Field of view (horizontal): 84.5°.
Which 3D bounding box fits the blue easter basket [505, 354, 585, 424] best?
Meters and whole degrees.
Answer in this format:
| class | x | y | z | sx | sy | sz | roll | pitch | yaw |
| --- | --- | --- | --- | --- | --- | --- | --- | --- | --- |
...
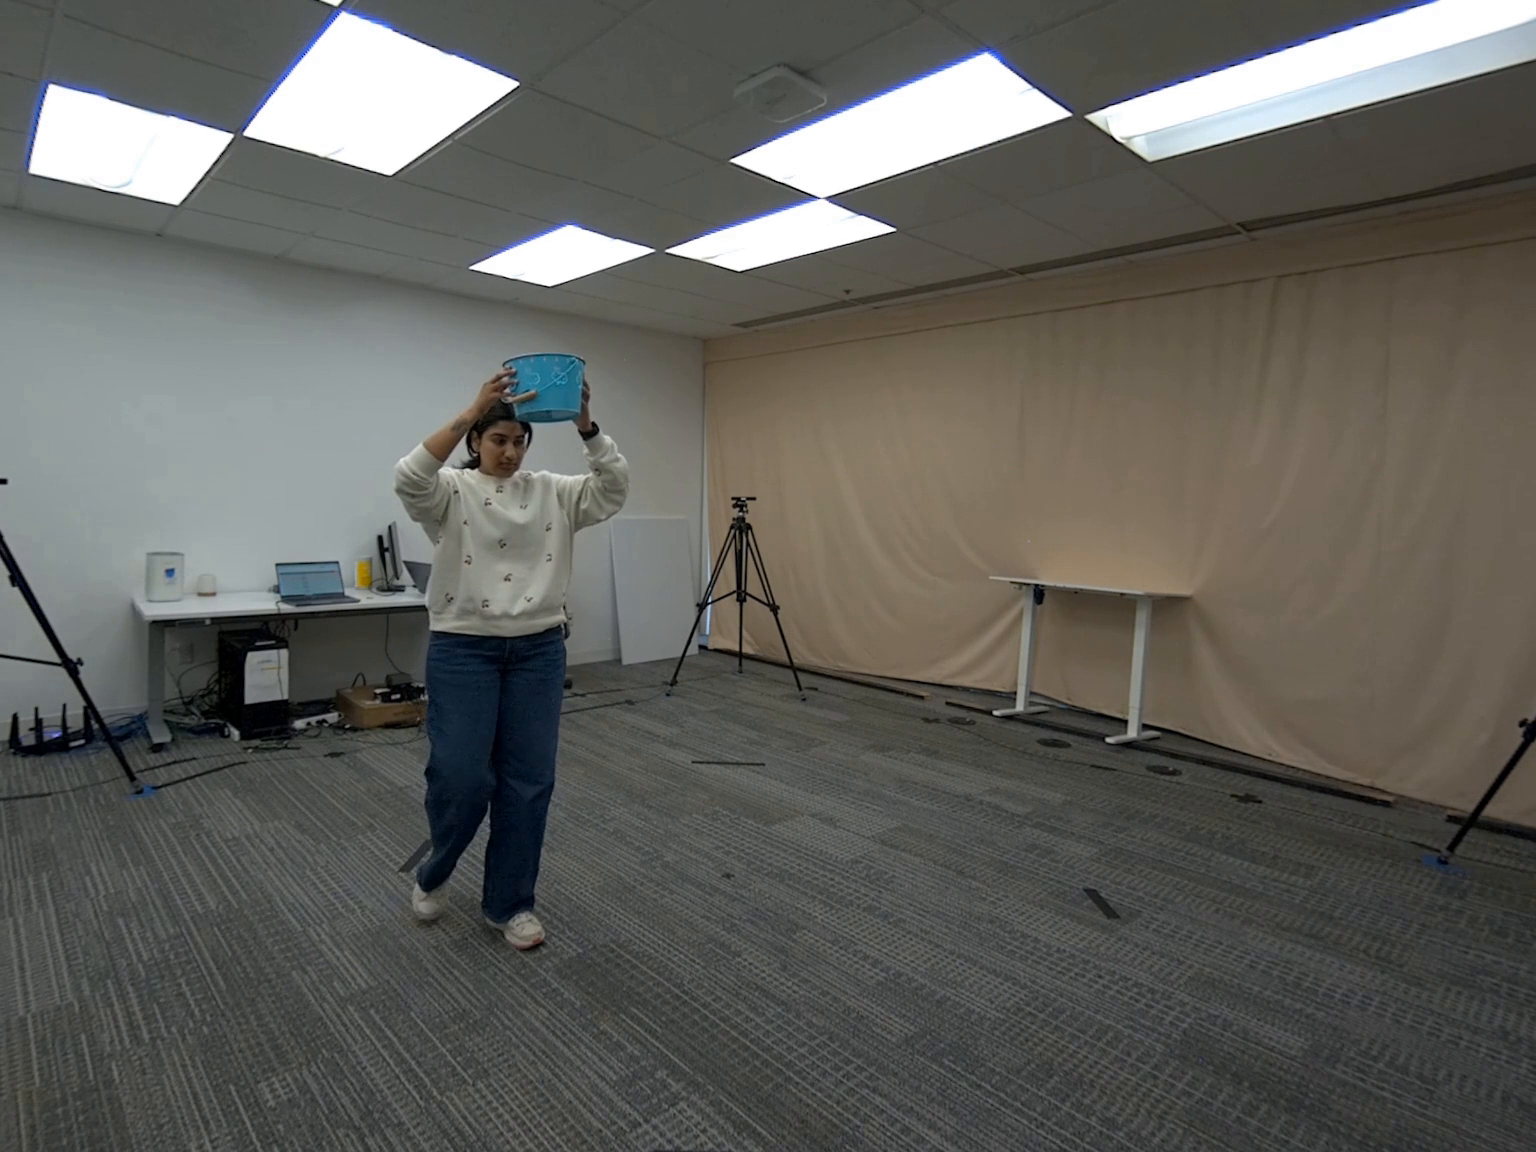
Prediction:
| class | x | y | z | sx | sy | sz | roll | pitch | yaw |
| --- | --- | --- | --- | --- | --- | --- | --- | --- | --- |
| blue easter basket | -0.645 | -0.526 | 2.375 | 0.243 | 0.156 | 0.243 | -4 | -1 | -1 |
